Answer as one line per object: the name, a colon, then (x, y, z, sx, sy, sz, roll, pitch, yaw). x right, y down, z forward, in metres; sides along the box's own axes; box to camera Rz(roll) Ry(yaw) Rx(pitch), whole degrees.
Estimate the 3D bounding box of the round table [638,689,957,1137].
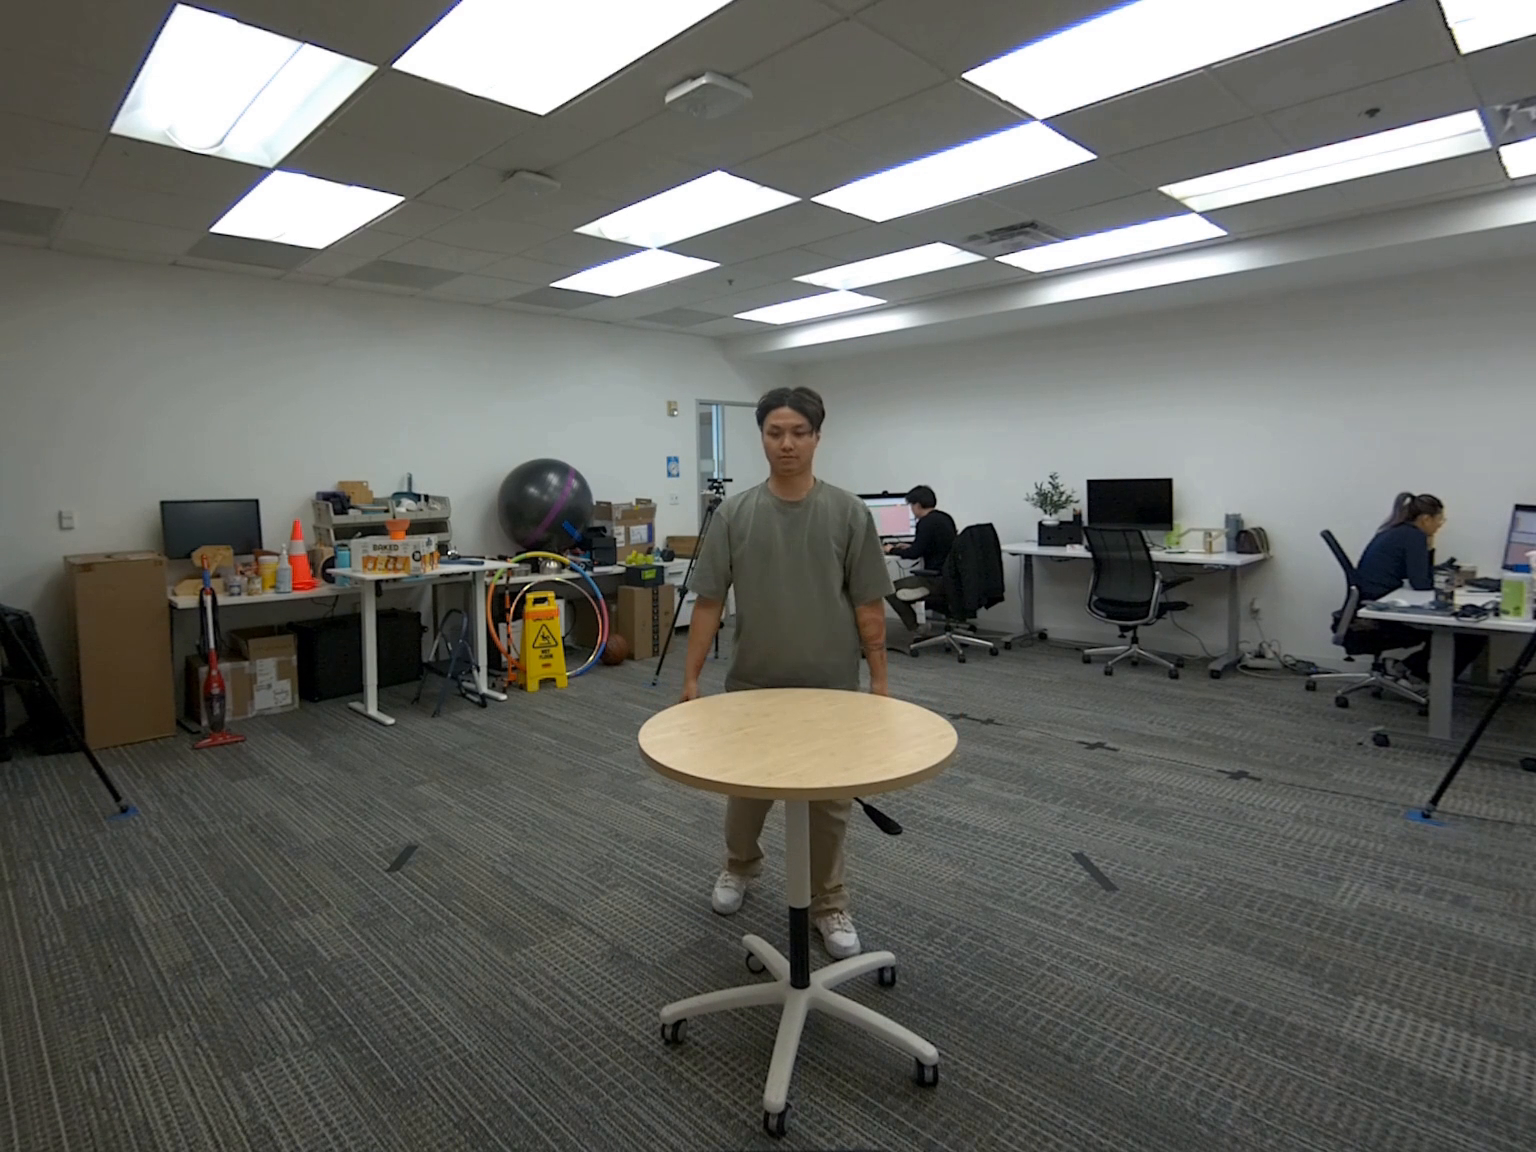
round table: (0.068, 0.768, 2.115, 0.784, 0.783, 0.790, -1, 6, -2)
